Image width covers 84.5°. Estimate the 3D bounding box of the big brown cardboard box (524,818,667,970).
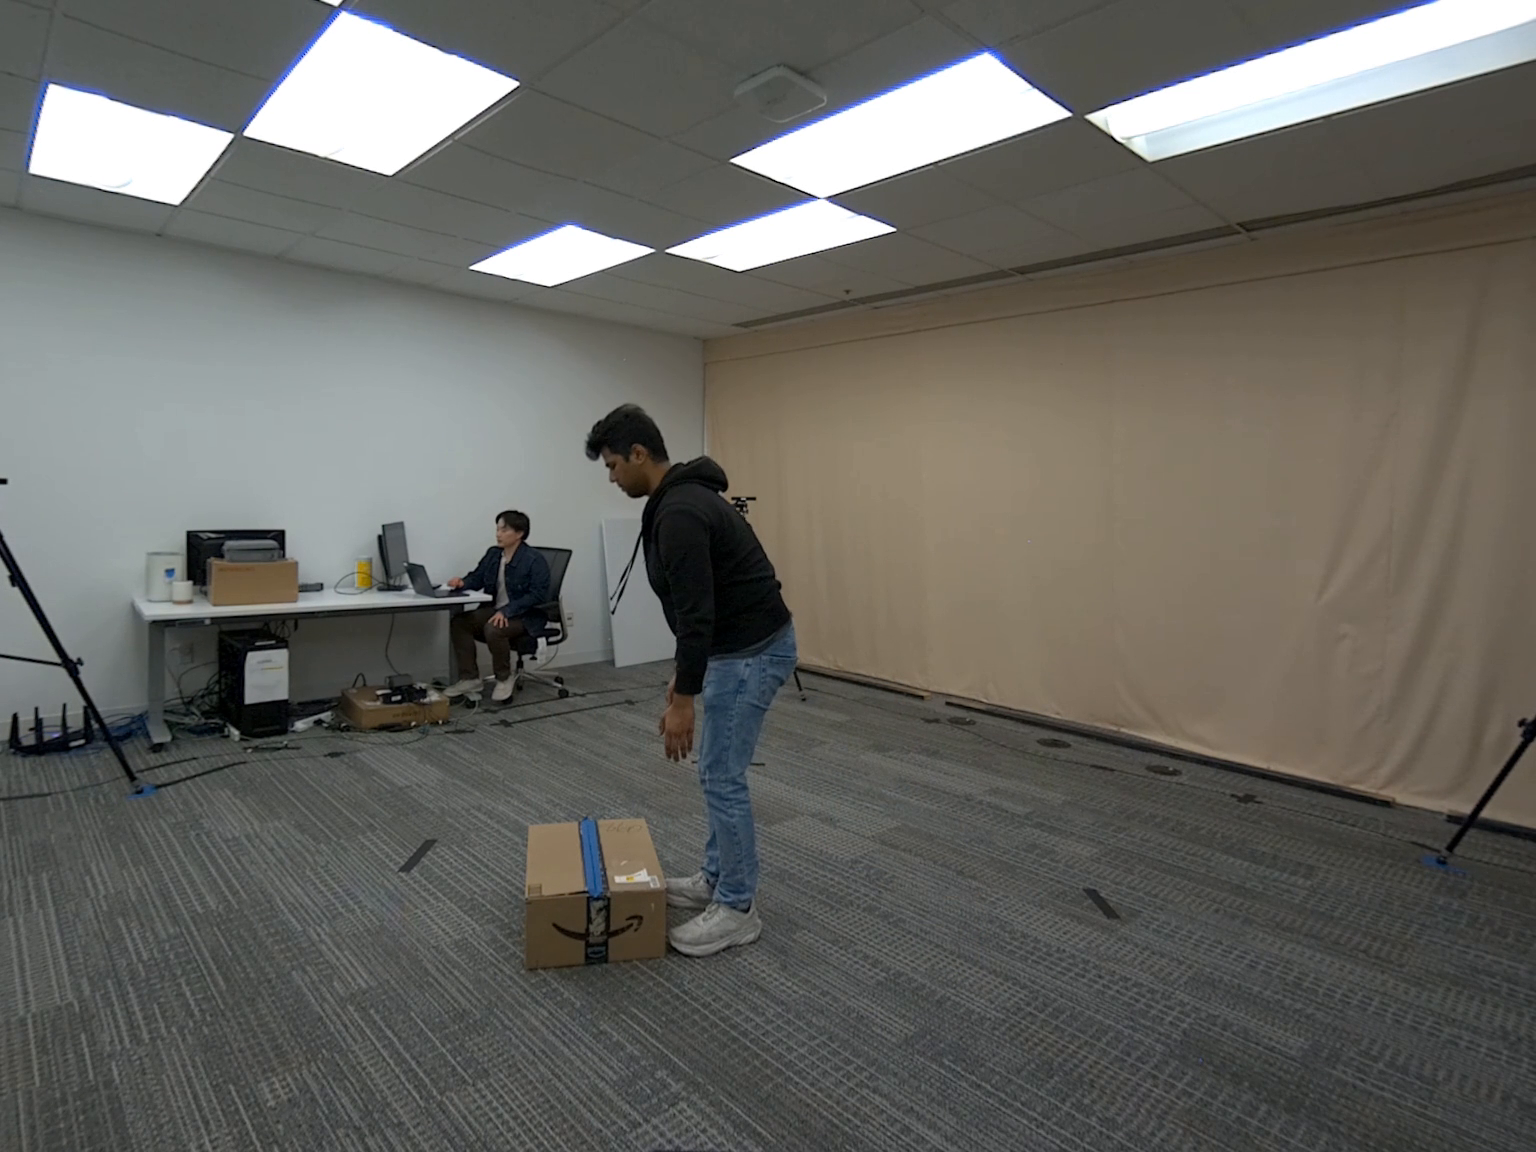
[{"bbox_3d":[-0.585,1.018,2.758,0.413,0.232,0.597,0,4,-14],"label":"big brown cardboard box"}]
